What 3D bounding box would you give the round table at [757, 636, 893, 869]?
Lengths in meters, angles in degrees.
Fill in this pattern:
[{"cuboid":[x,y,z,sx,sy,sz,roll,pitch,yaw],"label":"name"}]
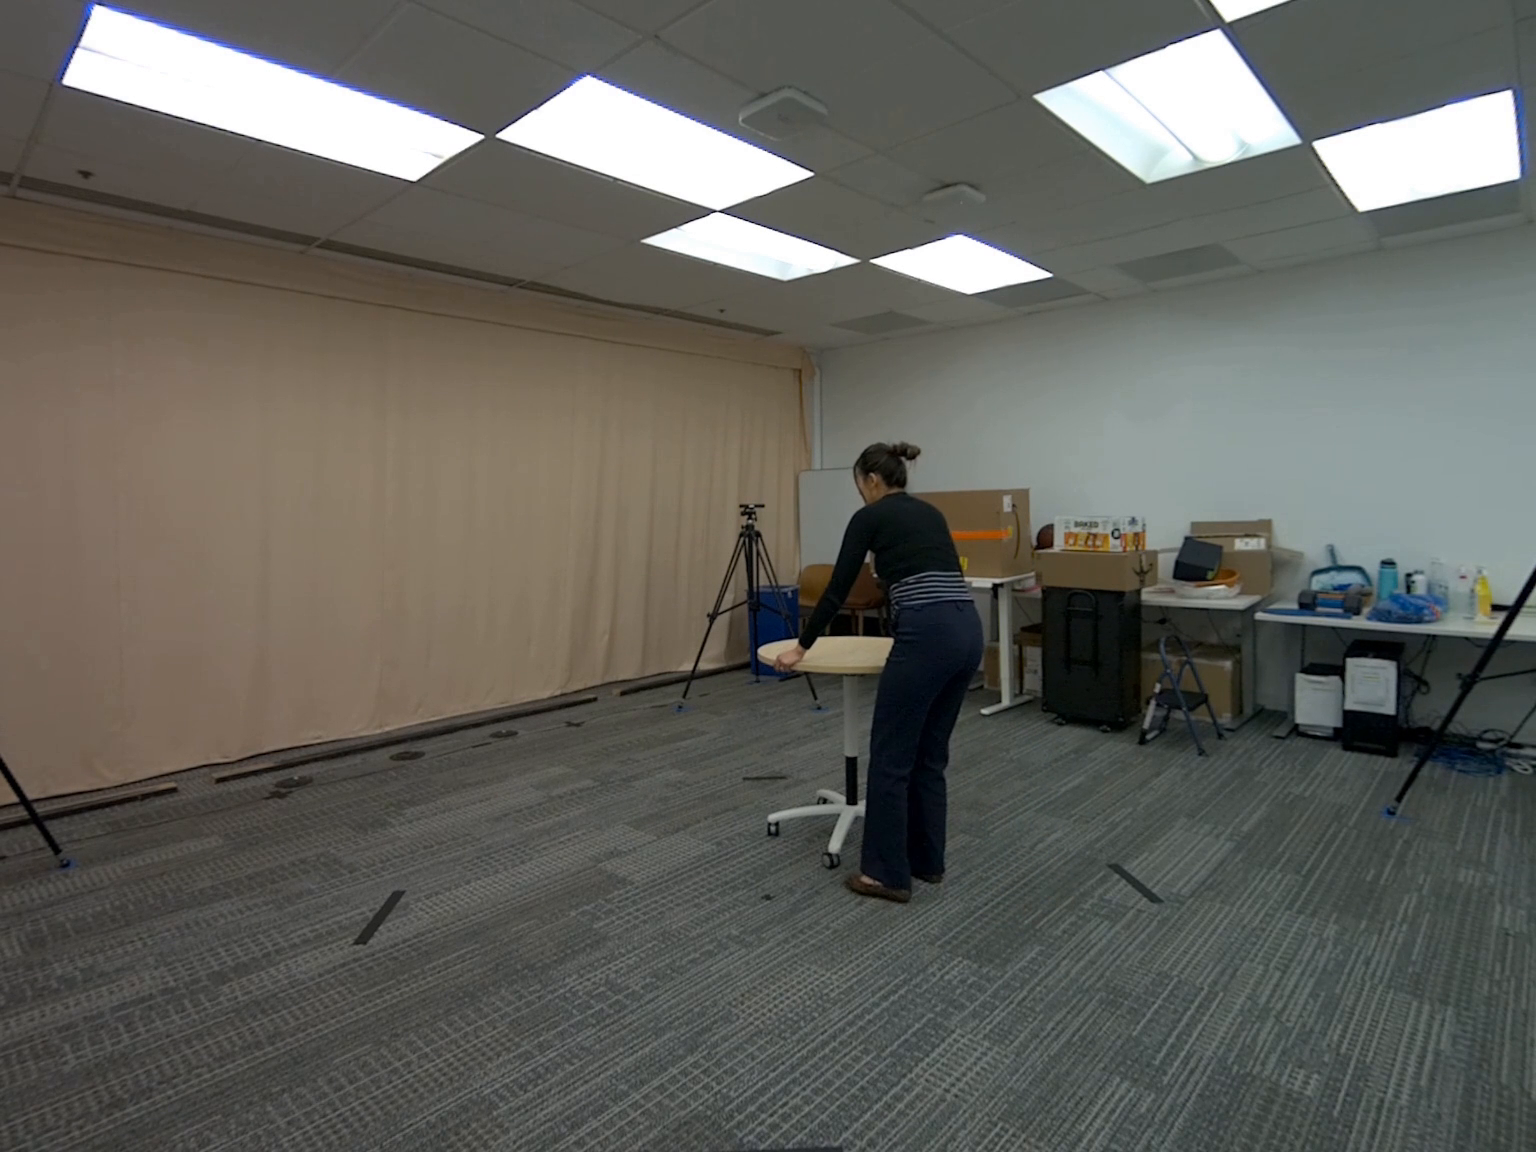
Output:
[{"cuboid":[0.348,0.700,3.492,0.763,0.792,0.766,-1,3,-2],"label":"round table"}]
